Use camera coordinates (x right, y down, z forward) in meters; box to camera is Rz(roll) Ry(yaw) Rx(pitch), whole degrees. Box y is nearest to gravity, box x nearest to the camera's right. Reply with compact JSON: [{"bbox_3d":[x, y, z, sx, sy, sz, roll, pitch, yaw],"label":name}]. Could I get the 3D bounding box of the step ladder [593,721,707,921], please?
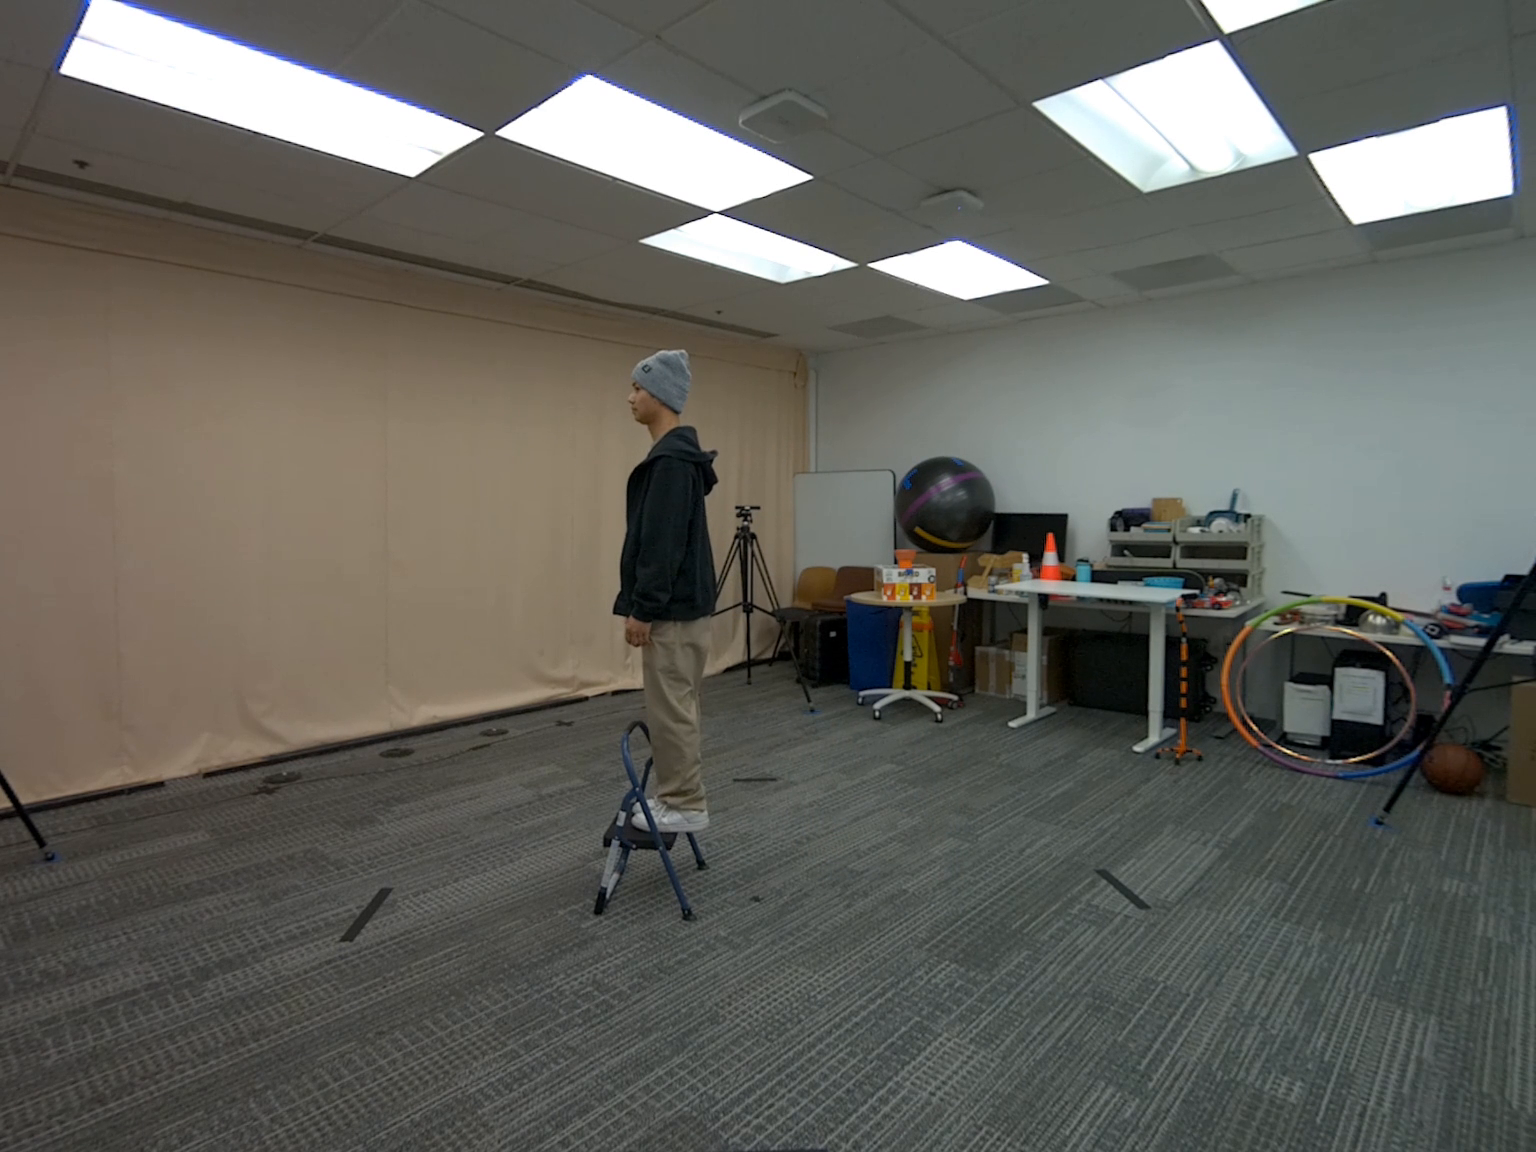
[{"bbox_3d":[-0.416,0.847,3.041,0.351,0.605,0.429,1,3,3],"label":"step ladder"}]
